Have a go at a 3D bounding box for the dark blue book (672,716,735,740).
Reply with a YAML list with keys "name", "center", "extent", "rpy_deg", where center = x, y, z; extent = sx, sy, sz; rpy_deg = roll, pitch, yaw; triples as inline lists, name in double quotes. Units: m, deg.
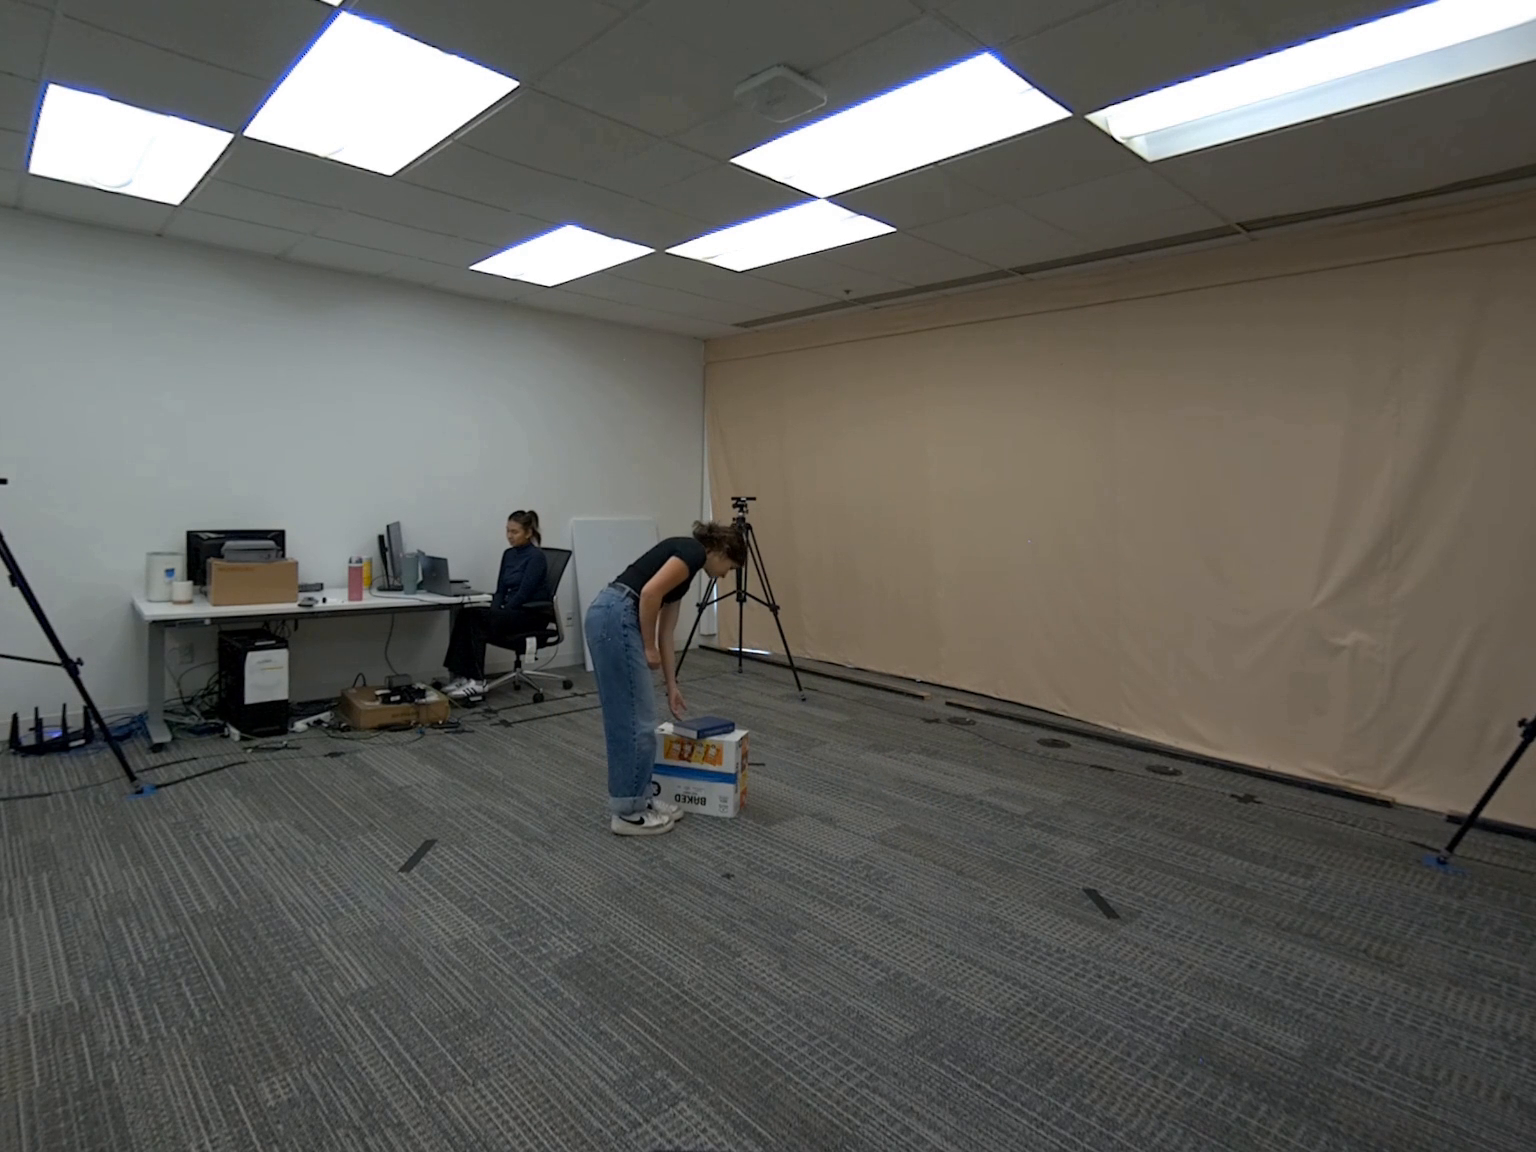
- name: "dark blue book"
  center: [-0.296, 0.682, 3.798]
  extent: [0.167, 0.045, 0.239]
  rpy_deg: [5, 5, 41]
